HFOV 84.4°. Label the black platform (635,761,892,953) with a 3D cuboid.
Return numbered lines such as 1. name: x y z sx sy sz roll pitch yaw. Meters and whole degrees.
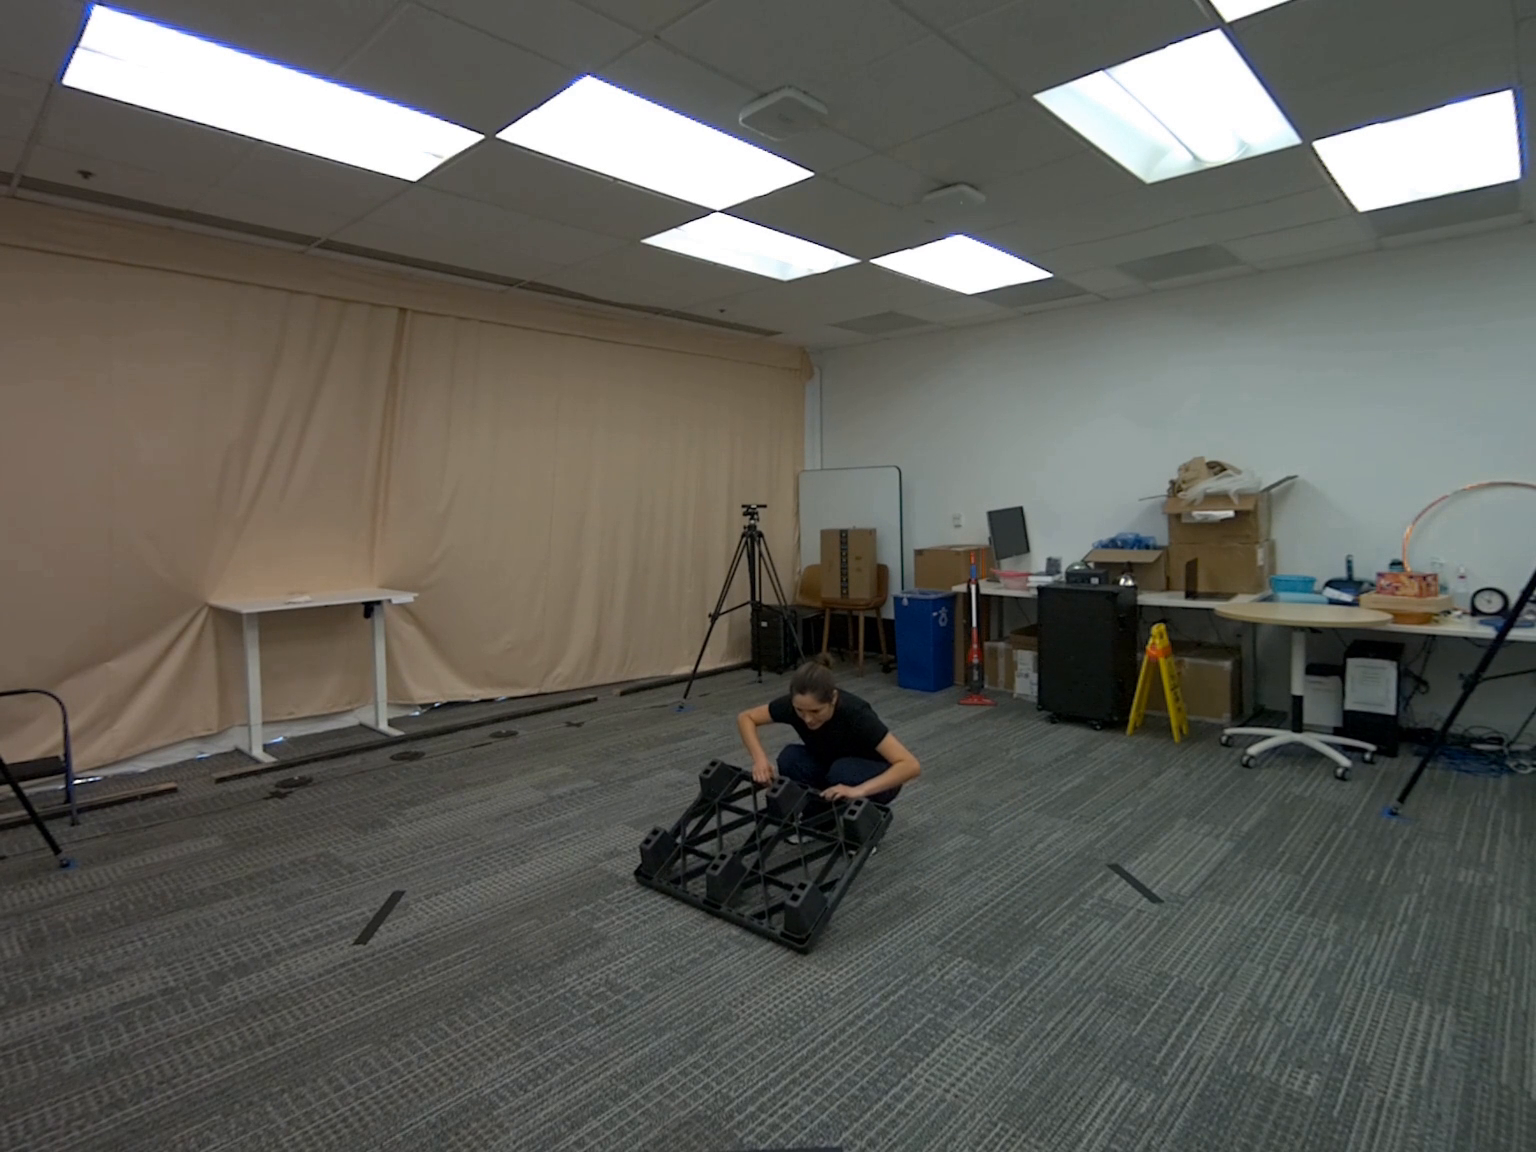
1. black platform: -0.031 0.939 3.015 0.832 0.140 0.599 3 36 41
